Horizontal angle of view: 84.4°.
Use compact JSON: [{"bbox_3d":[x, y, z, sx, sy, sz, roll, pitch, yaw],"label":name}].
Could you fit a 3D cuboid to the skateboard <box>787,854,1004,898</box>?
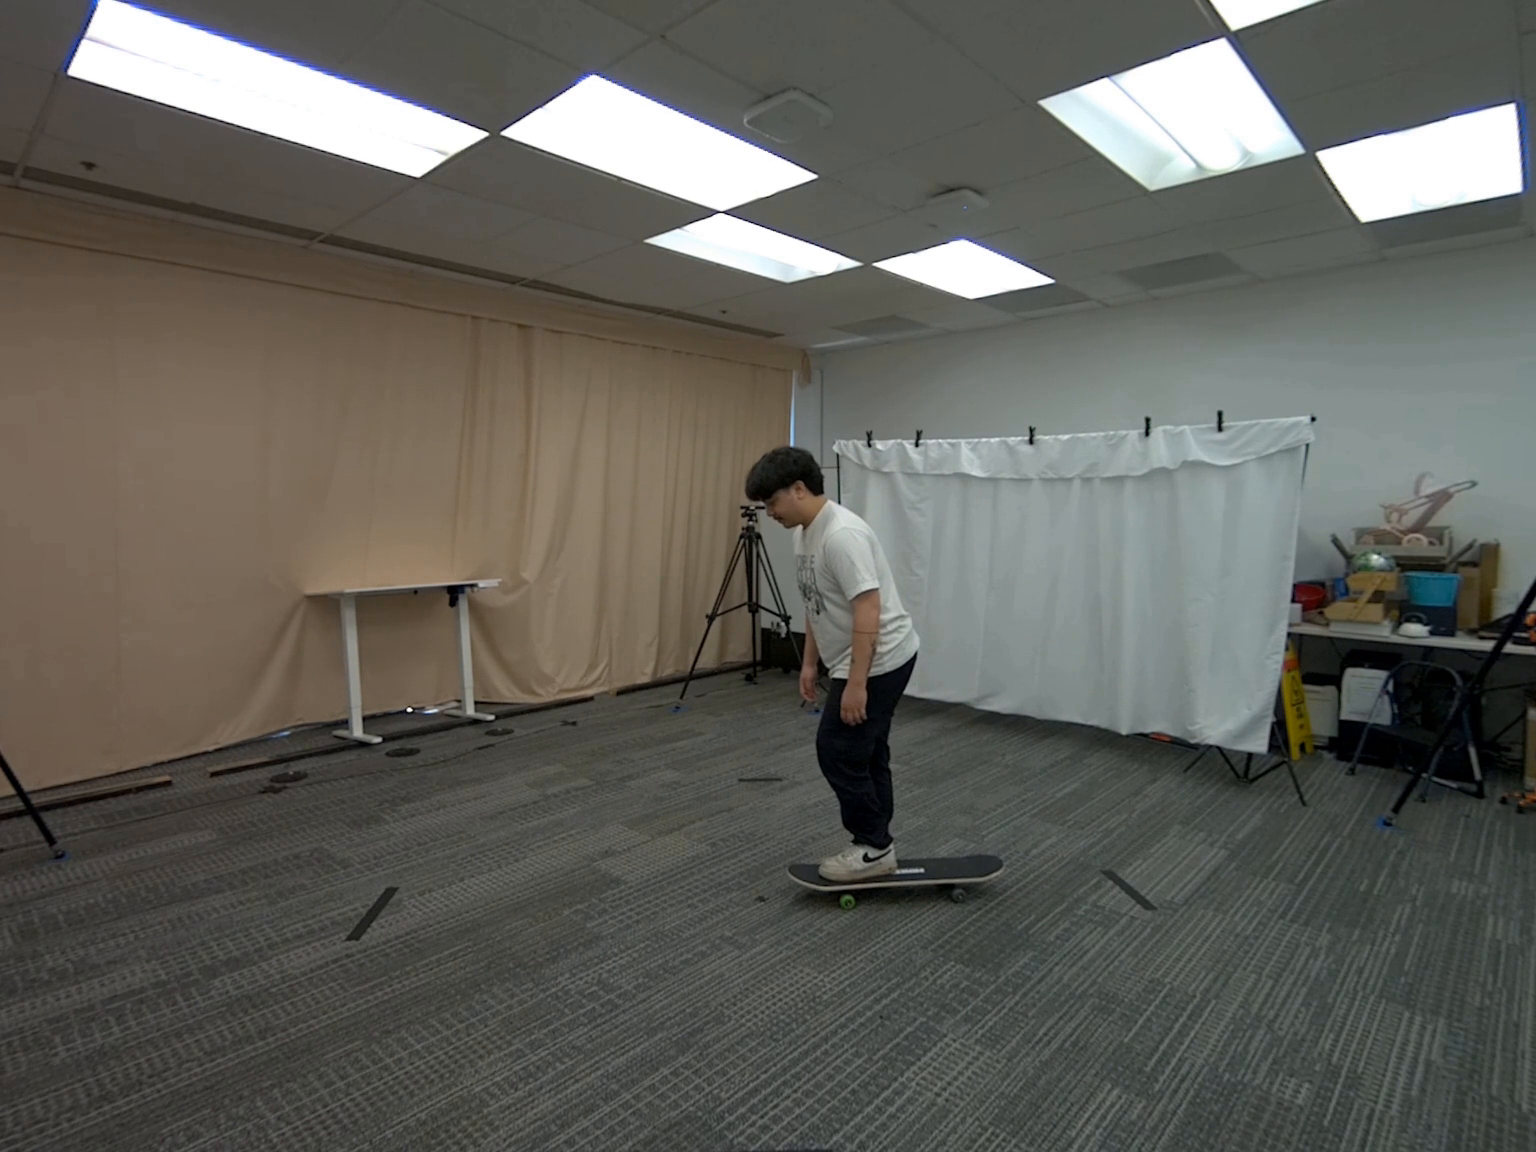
[{"bbox_3d":[0.460,1.083,3.006,0.780,0.110,0.195,-1,4,-7],"label":"skateboard"}]
